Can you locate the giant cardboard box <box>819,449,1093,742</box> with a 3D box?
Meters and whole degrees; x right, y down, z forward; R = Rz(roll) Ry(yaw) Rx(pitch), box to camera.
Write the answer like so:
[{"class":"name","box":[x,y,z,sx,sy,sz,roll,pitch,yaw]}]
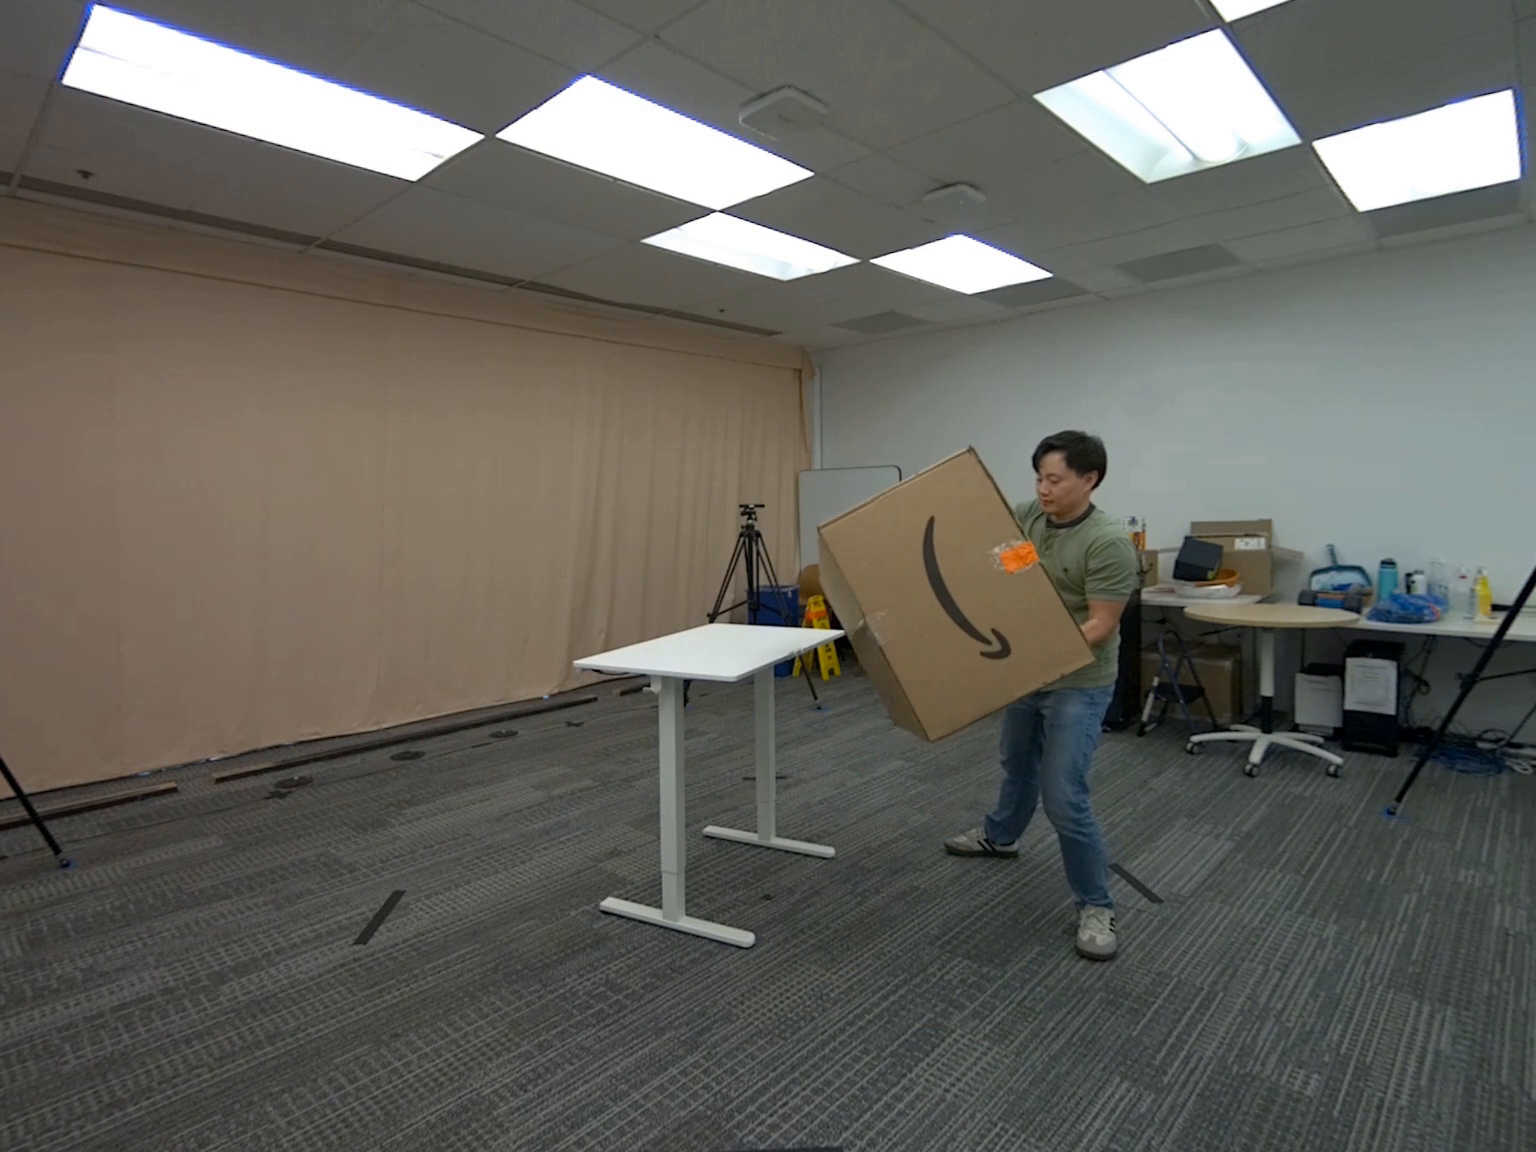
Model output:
[{"class":"giant cardboard box","box":[0.463,0.100,2.455,0.426,0.584,1.014,-26,-9,-1]}]
